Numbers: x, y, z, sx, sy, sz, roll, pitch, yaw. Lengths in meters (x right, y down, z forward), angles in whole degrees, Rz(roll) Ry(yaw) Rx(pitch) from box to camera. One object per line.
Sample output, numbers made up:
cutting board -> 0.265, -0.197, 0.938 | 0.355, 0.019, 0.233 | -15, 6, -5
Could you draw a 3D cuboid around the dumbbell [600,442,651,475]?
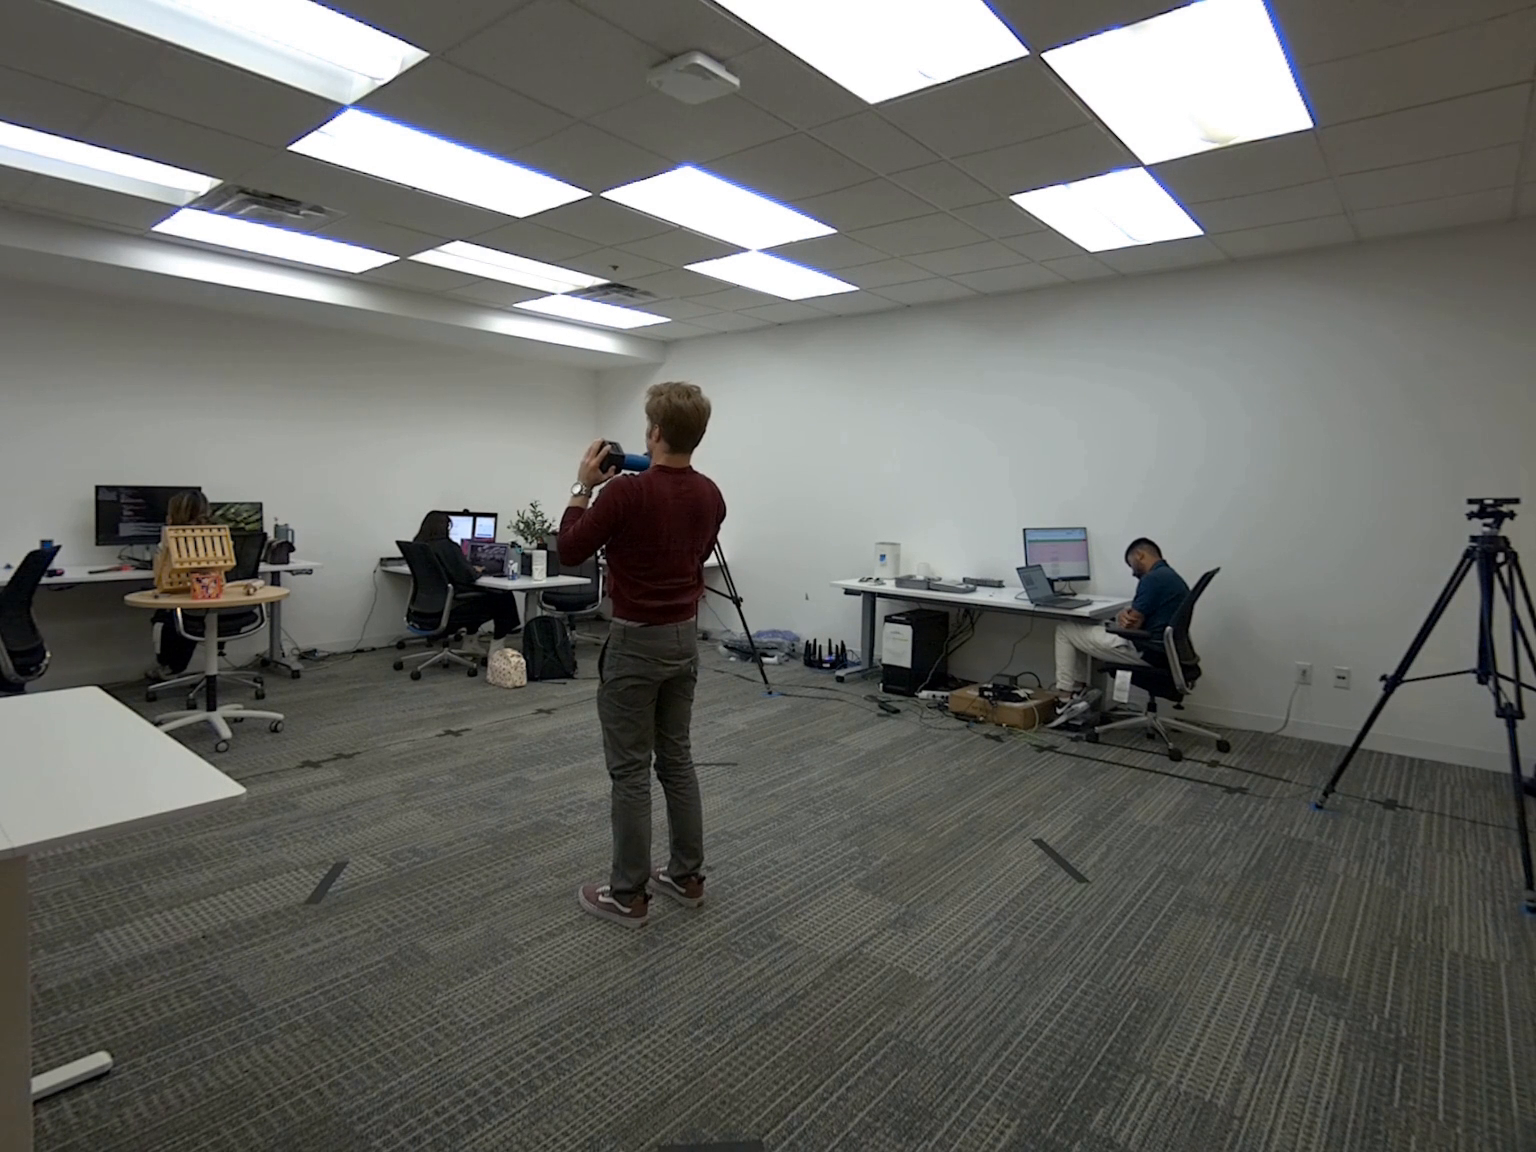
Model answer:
dumbbell -> -0.464, -0.389, 2.875 | 0.283, 0.122, 0.113 | 6, 20, -44
